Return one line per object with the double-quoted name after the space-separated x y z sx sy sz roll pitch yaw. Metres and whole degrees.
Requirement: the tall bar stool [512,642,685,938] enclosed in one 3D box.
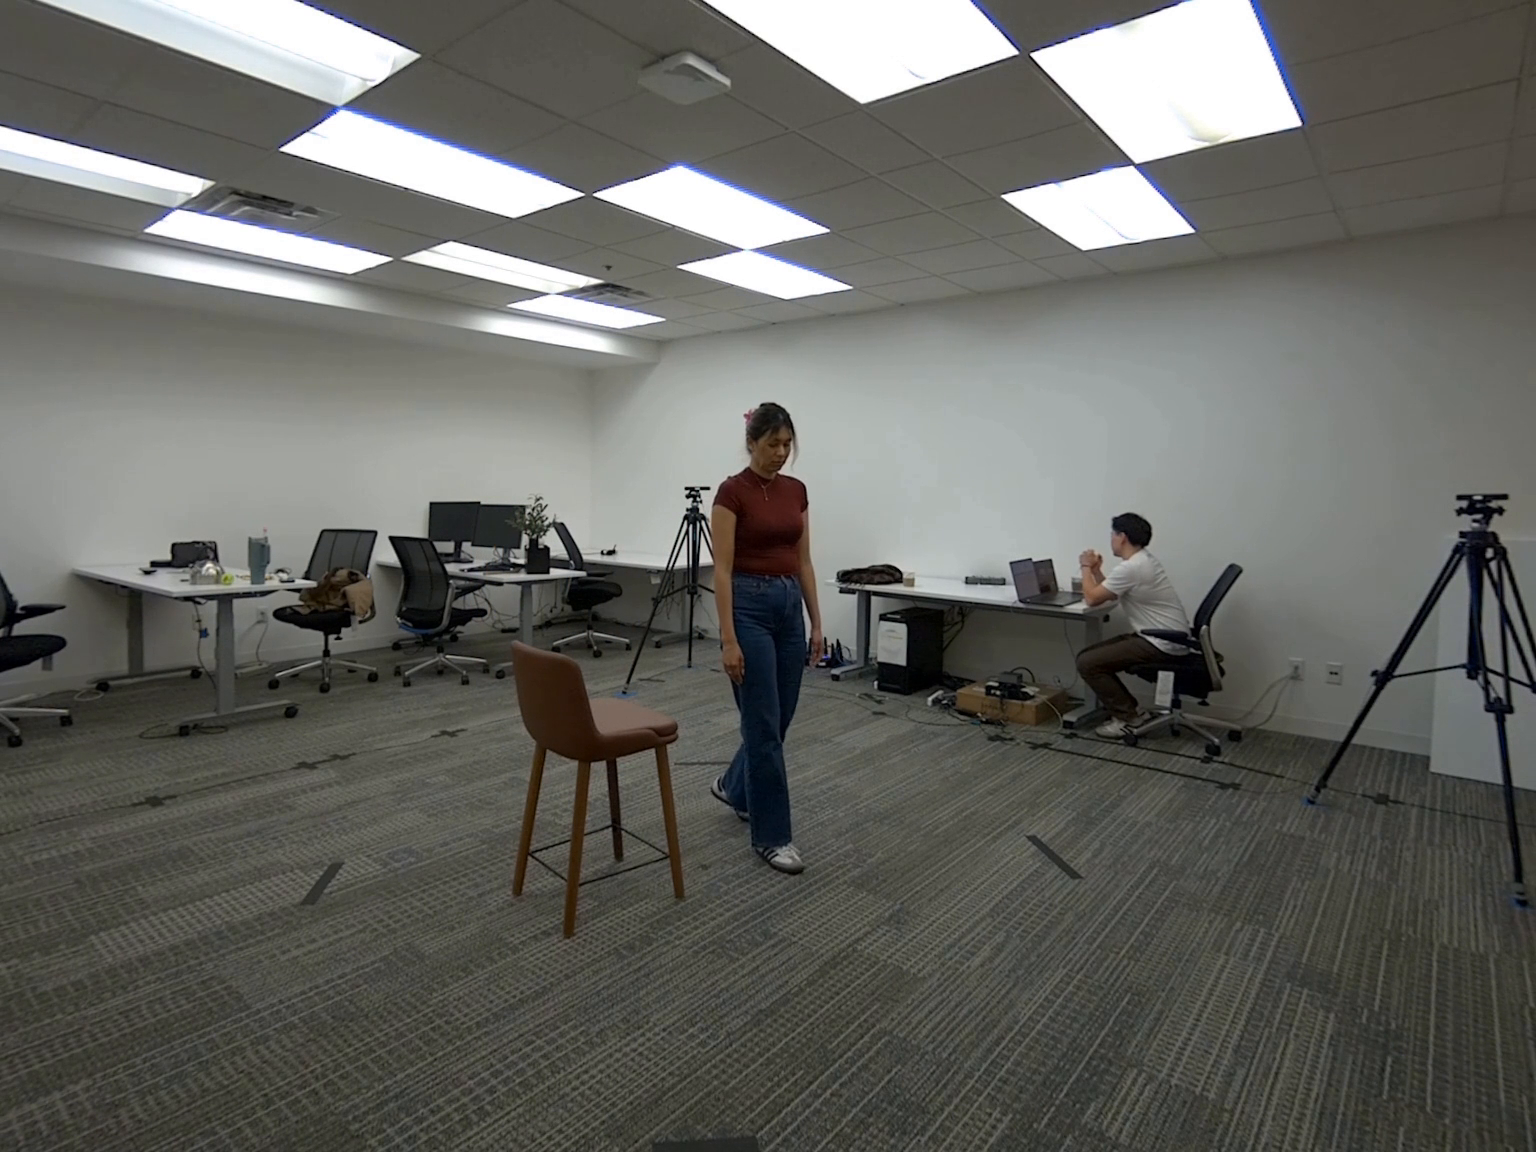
-0.590 0.649 2.866 0.454 0.886 0.472 -4 6 -42 "tall bar stool"
